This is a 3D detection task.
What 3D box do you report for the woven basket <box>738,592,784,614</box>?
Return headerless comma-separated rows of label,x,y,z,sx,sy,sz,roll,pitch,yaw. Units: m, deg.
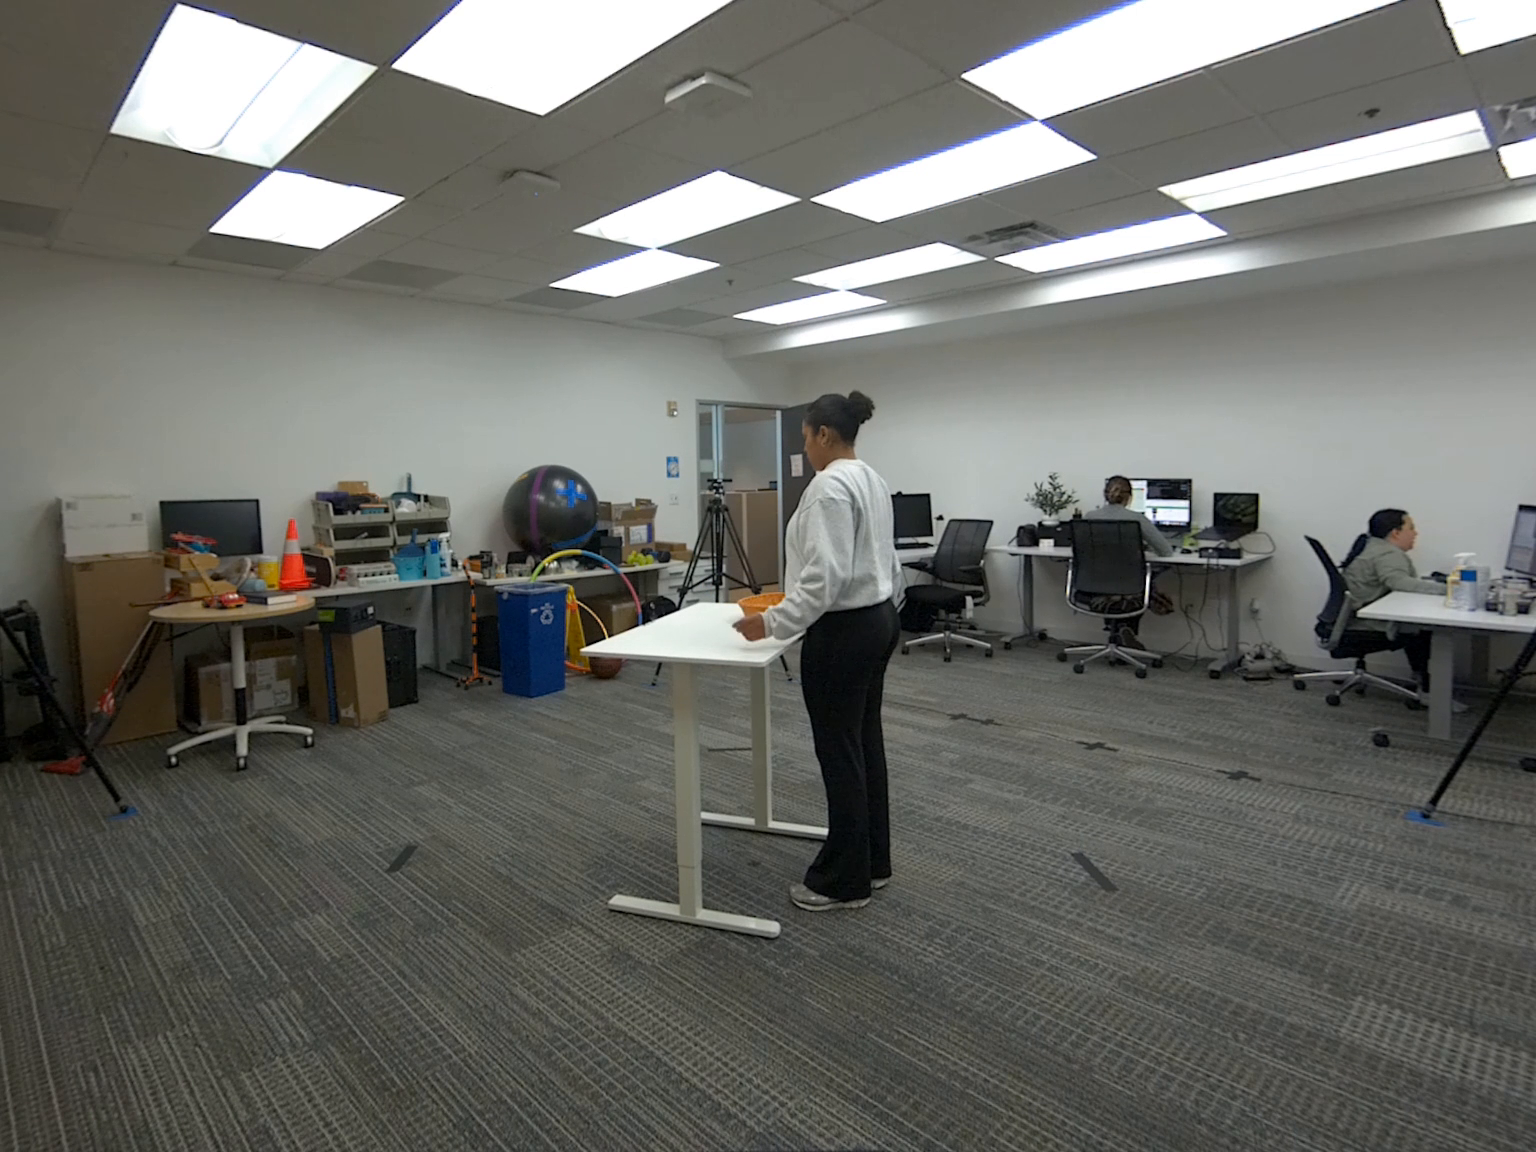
woven basket,0.063,0.124,3.141,0.259,0.073,0.343,2,8,30
